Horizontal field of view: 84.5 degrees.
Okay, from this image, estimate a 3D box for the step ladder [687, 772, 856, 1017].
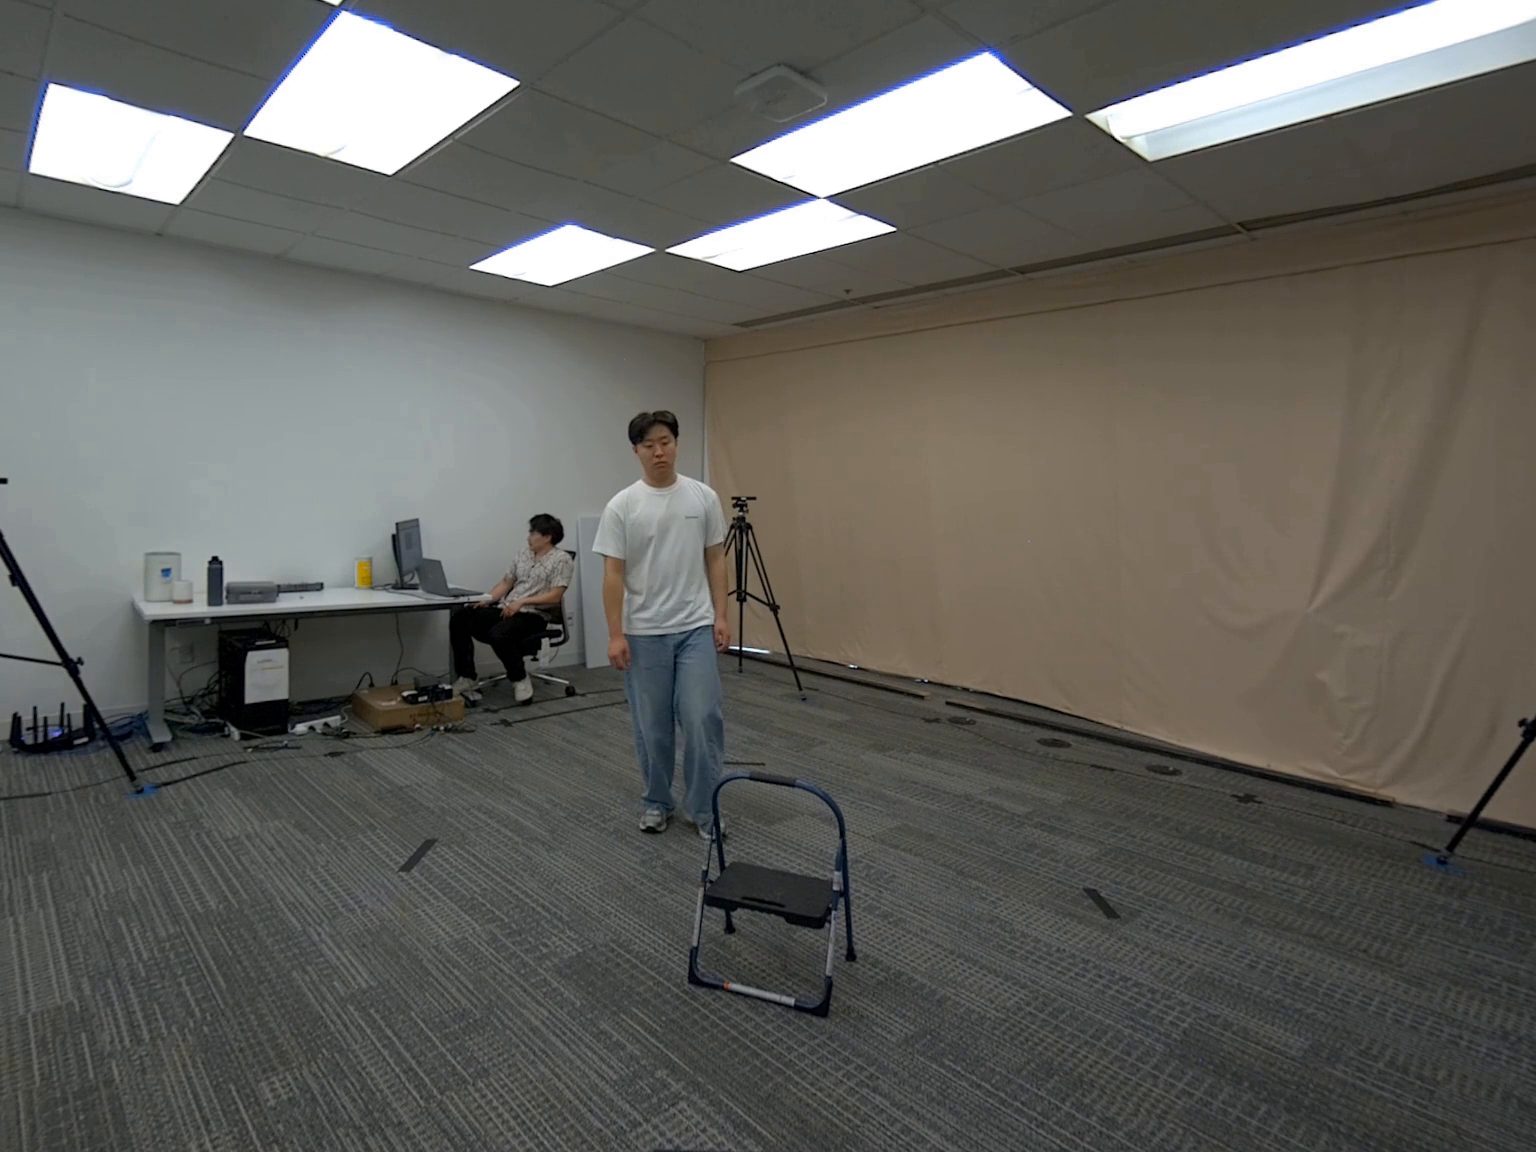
[{"bbox_3d":[0.021,0.864,2.475,0.437,0.604,0.344,3,4,20],"label":"step ladder"}]
